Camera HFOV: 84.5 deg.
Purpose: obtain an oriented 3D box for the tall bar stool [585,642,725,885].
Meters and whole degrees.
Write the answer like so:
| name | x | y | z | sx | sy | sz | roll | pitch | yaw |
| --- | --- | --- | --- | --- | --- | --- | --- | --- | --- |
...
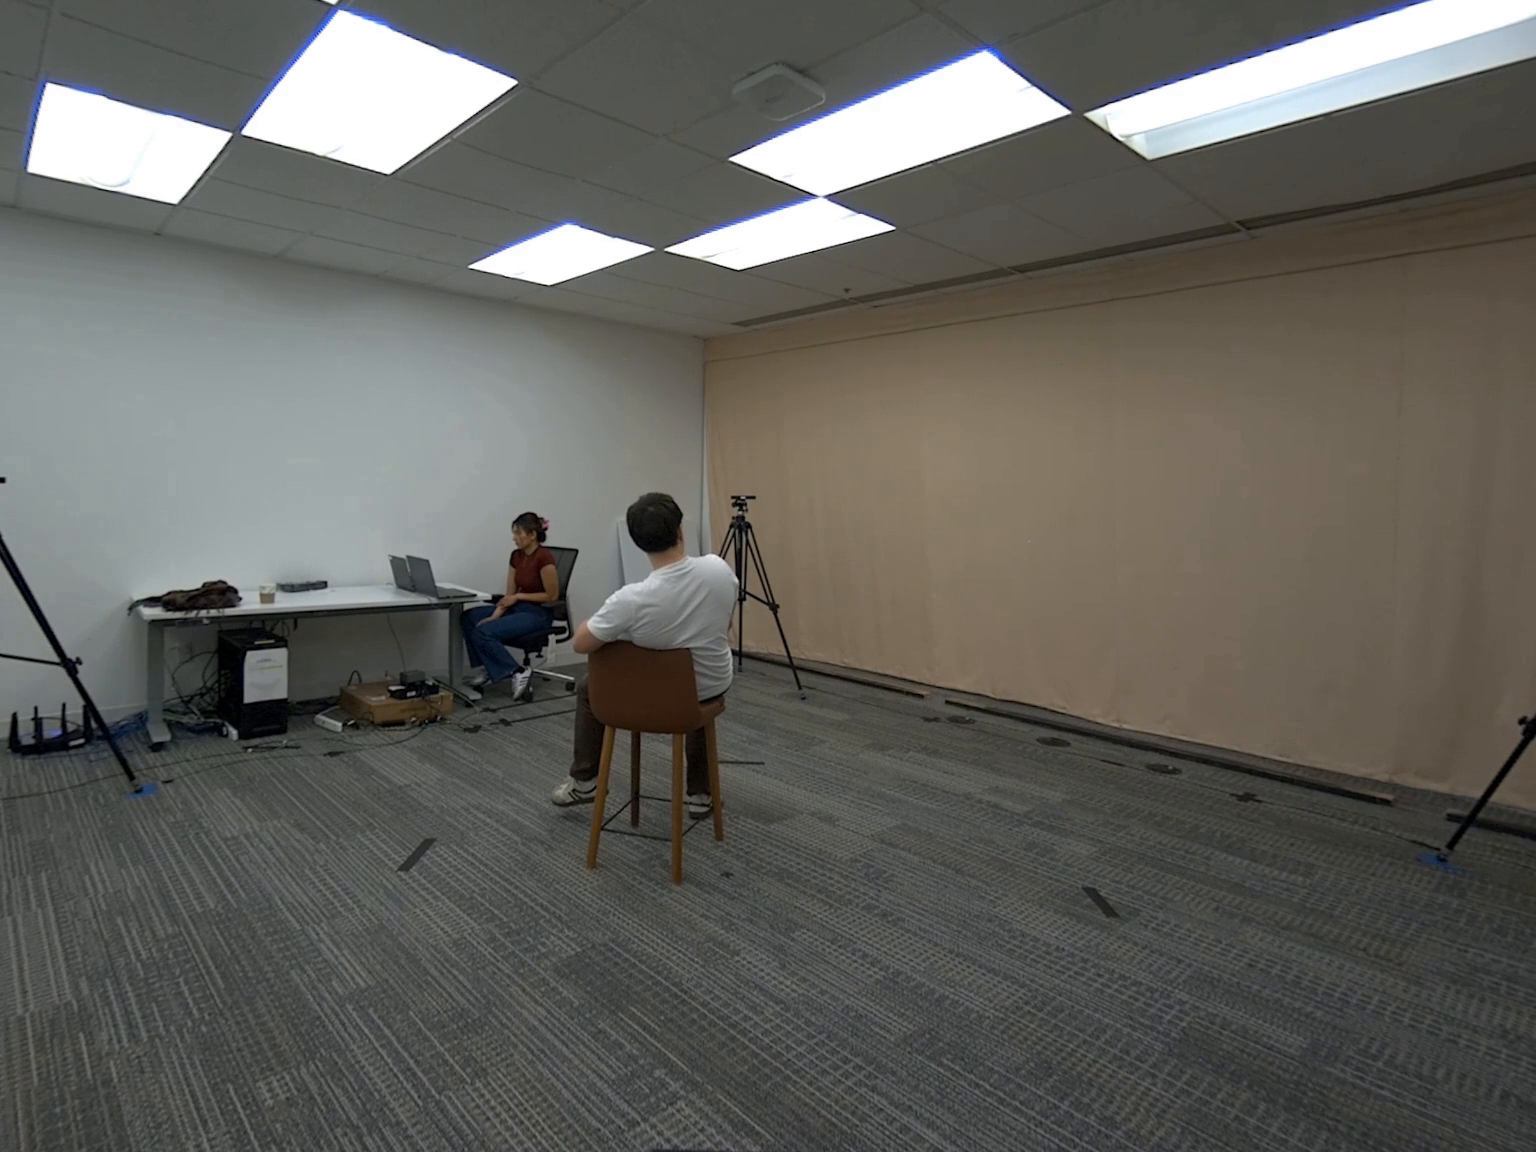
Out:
| name | x | y | z | sx | sy | sz | roll | pitch | yaw |
| --- | --- | --- | --- | --- | --- | --- | --- | --- | --- |
| tall bar stool | -0.439 | 0.655 | 3.256 | 0.463 | 0.887 | 0.462 | 2 | 4 | 19 |
